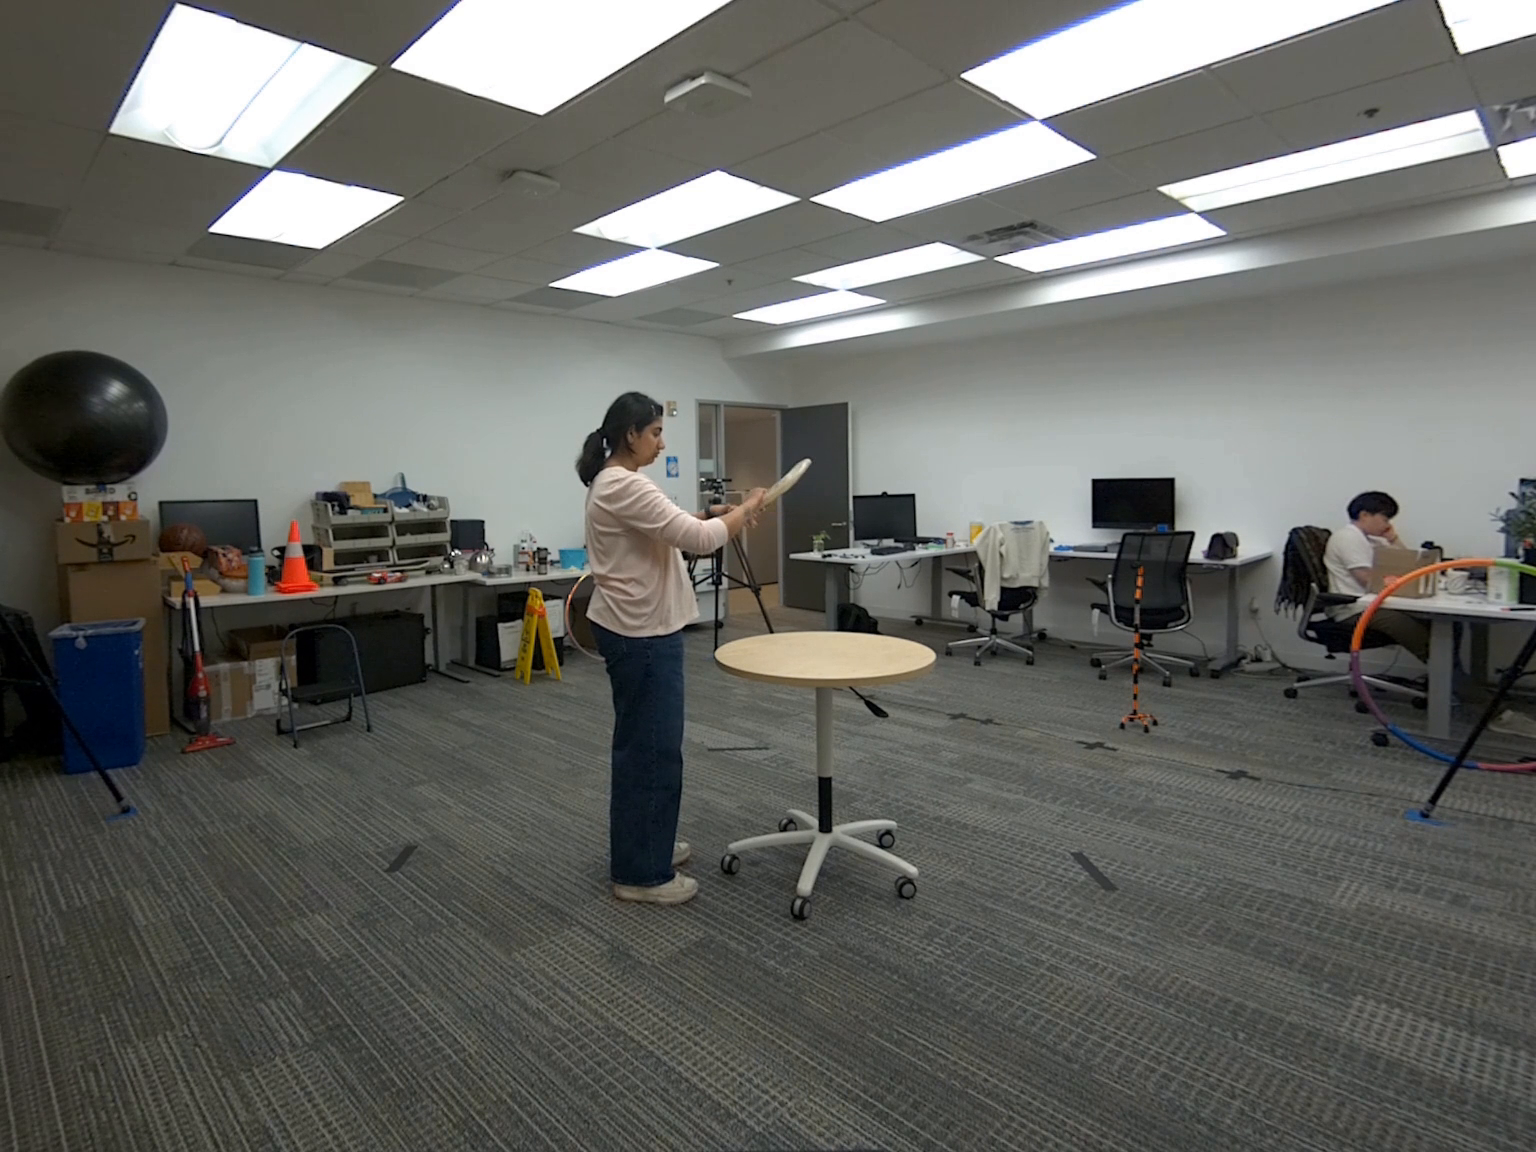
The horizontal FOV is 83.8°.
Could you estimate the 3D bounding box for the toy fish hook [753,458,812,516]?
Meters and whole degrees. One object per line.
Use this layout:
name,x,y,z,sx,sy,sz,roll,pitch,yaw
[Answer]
toy fish hook,-0.028,-0.267,3.021,0.512,0.048,0.224,-29,11,46
